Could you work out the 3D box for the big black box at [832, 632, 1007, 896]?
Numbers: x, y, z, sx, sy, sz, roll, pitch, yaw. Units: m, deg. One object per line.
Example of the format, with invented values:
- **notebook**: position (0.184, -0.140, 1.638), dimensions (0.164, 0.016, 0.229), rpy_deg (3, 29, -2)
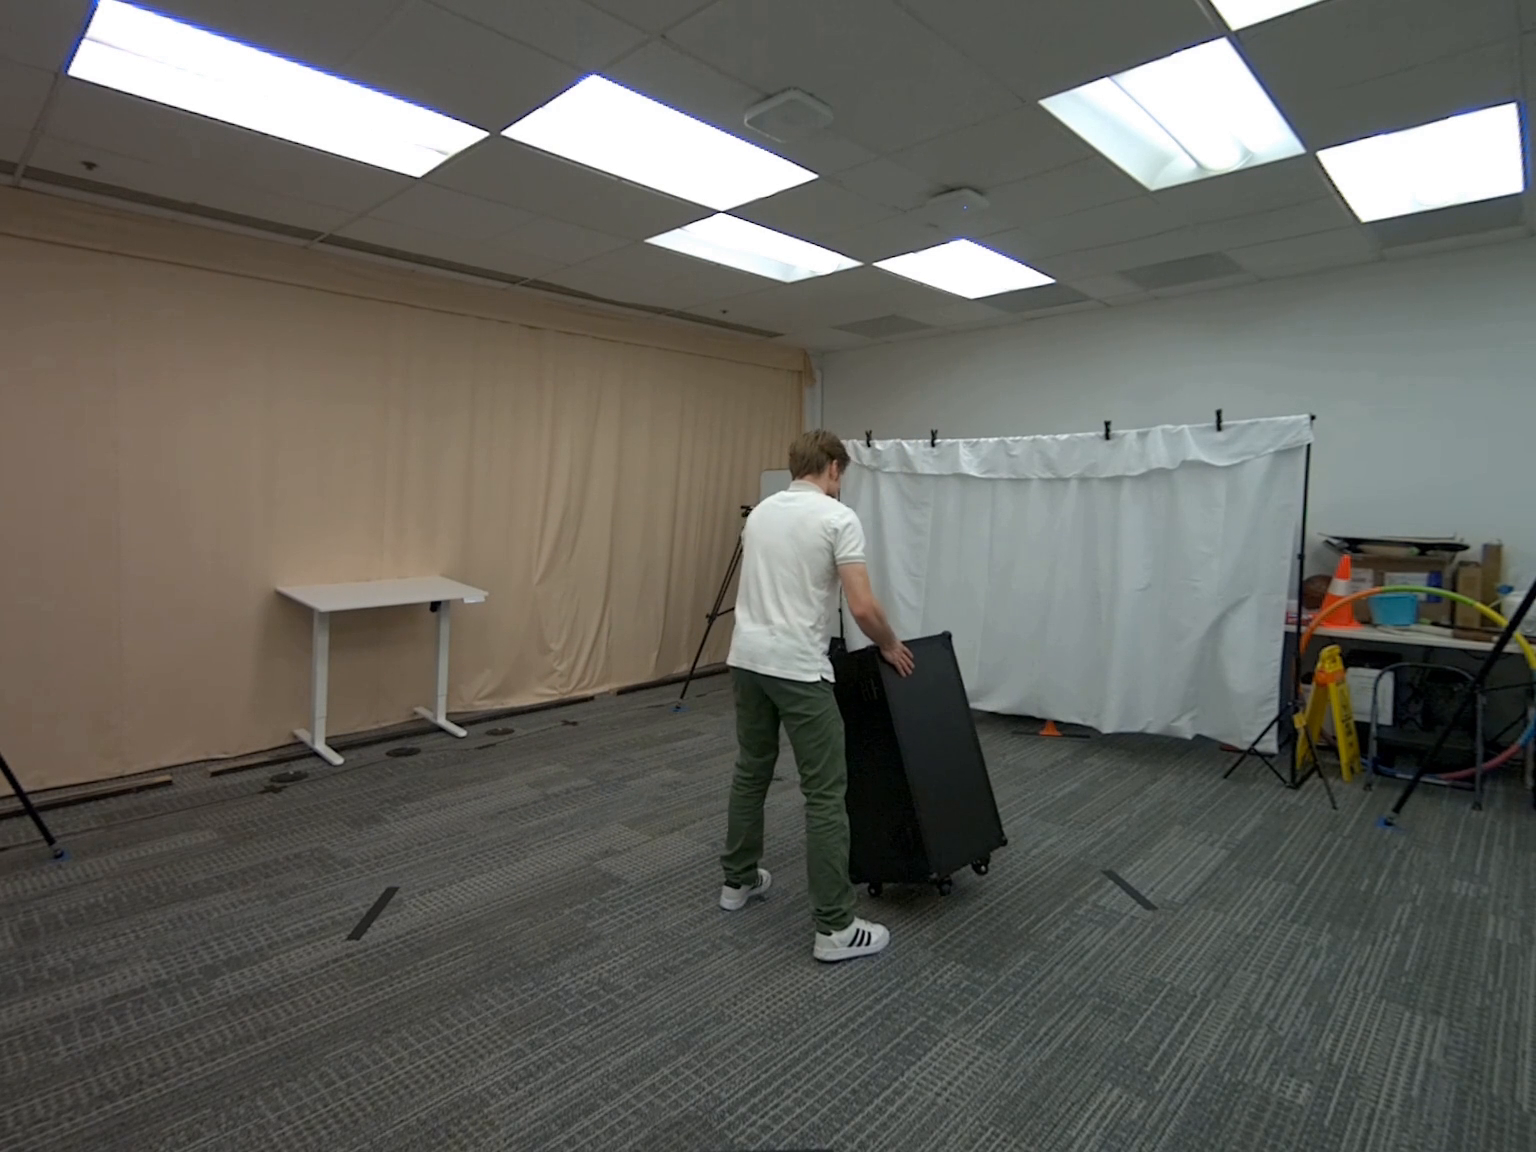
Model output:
- **big black box**: position (0.500, 0.684, 3.059), dimensions (0.507, 0.876, 0.394), rpy_deg (-2, -14, -46)
